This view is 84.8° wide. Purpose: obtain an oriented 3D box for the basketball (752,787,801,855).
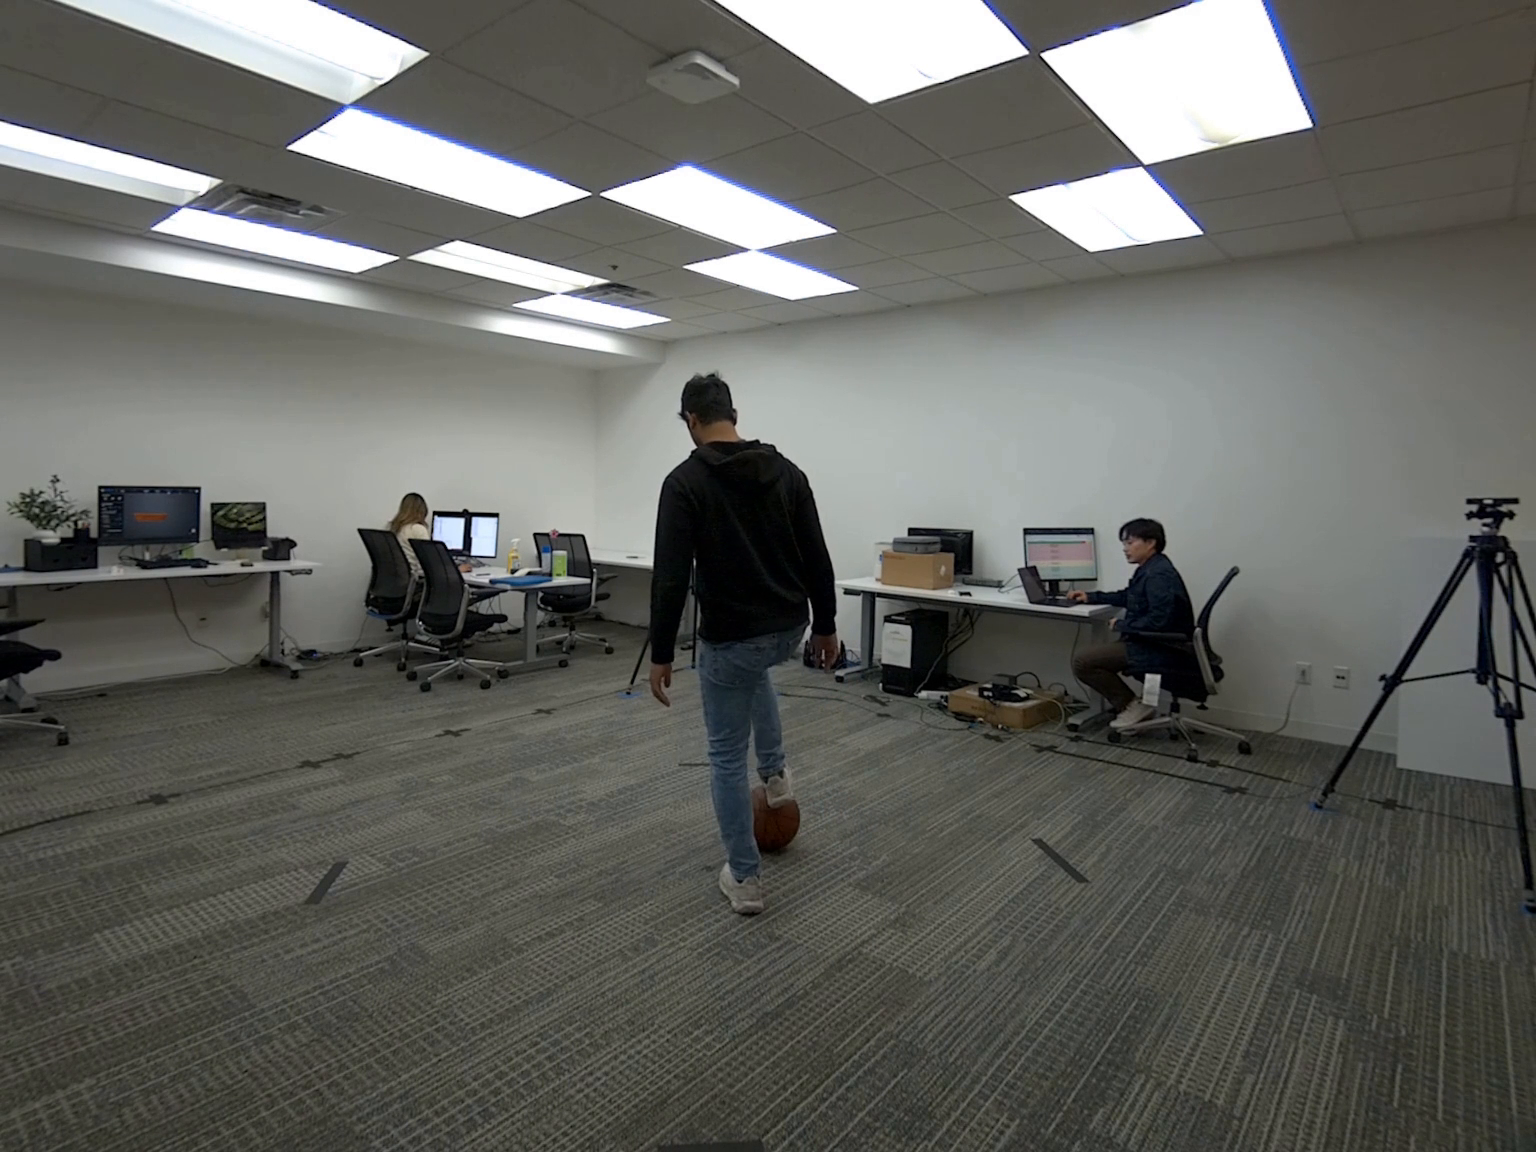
[{"bbox_3d":[-0.008,0.929,3.294,0.235,0.235,0.237,1,4,-2],"label":"basketball"}]
